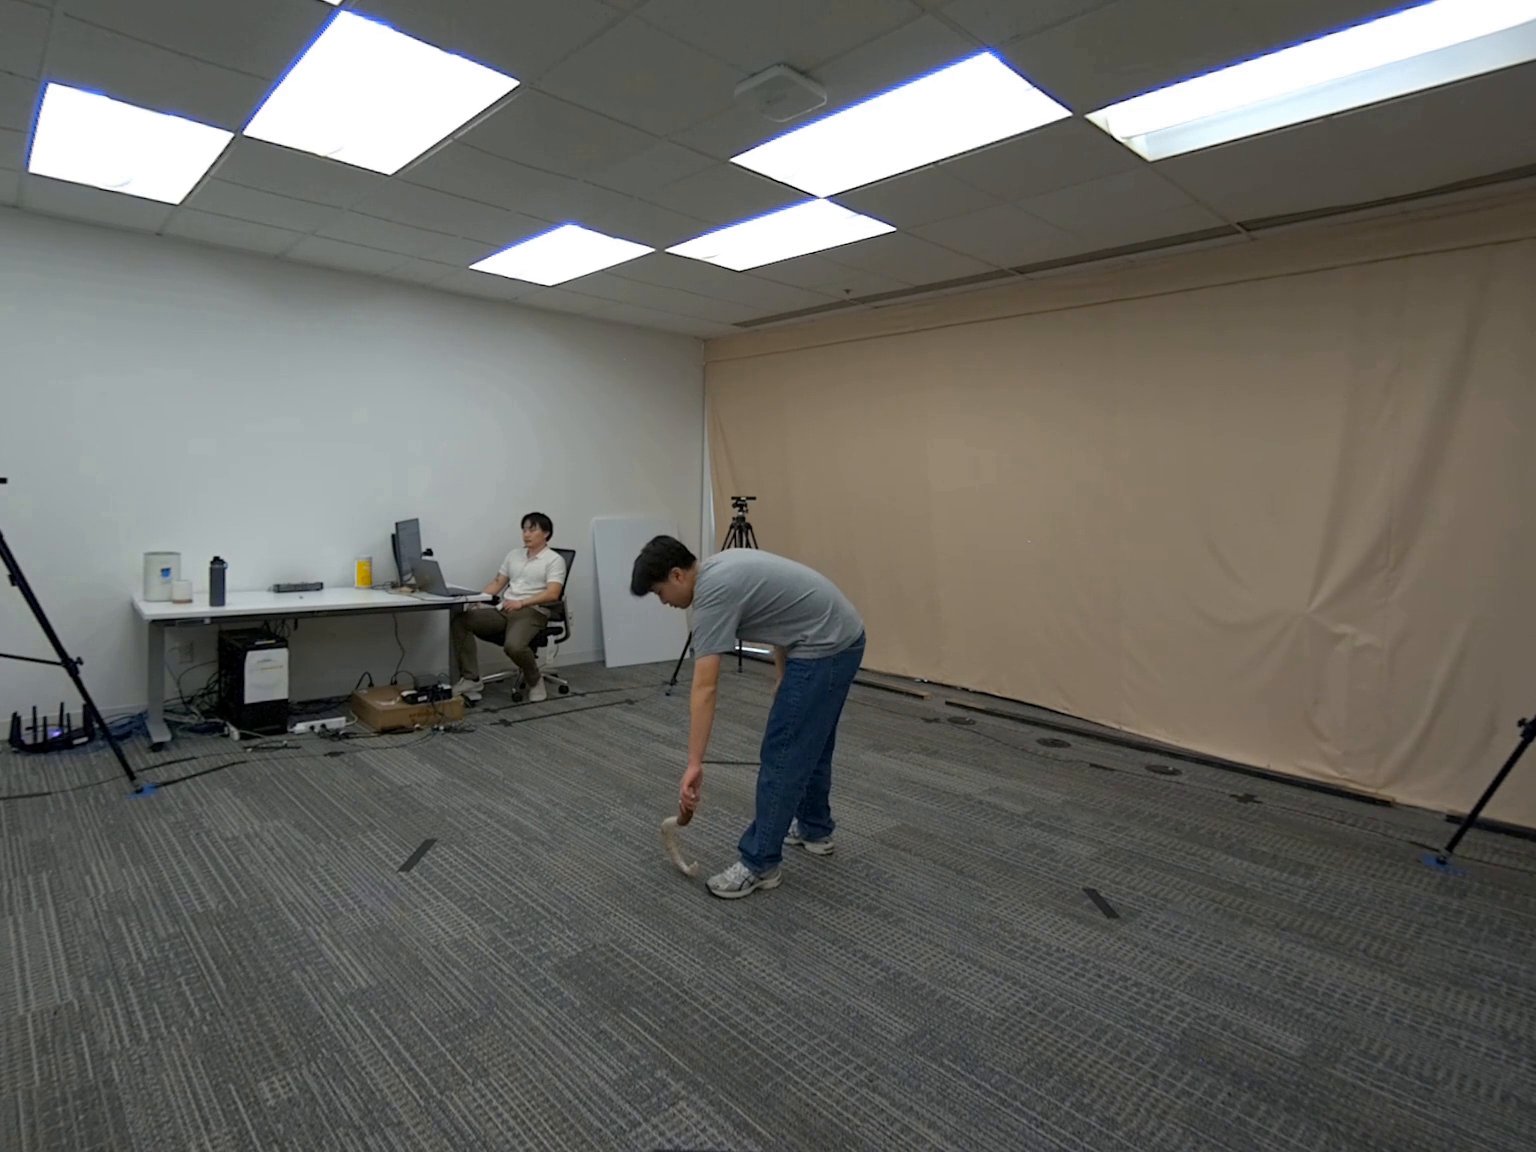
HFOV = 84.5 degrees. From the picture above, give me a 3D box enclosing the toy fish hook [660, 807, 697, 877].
[{"bbox_3d":[-0.283,0.921,2.962,0.048,0.229,0.501,-24,-23,-31],"label":"toy fish hook"}]
